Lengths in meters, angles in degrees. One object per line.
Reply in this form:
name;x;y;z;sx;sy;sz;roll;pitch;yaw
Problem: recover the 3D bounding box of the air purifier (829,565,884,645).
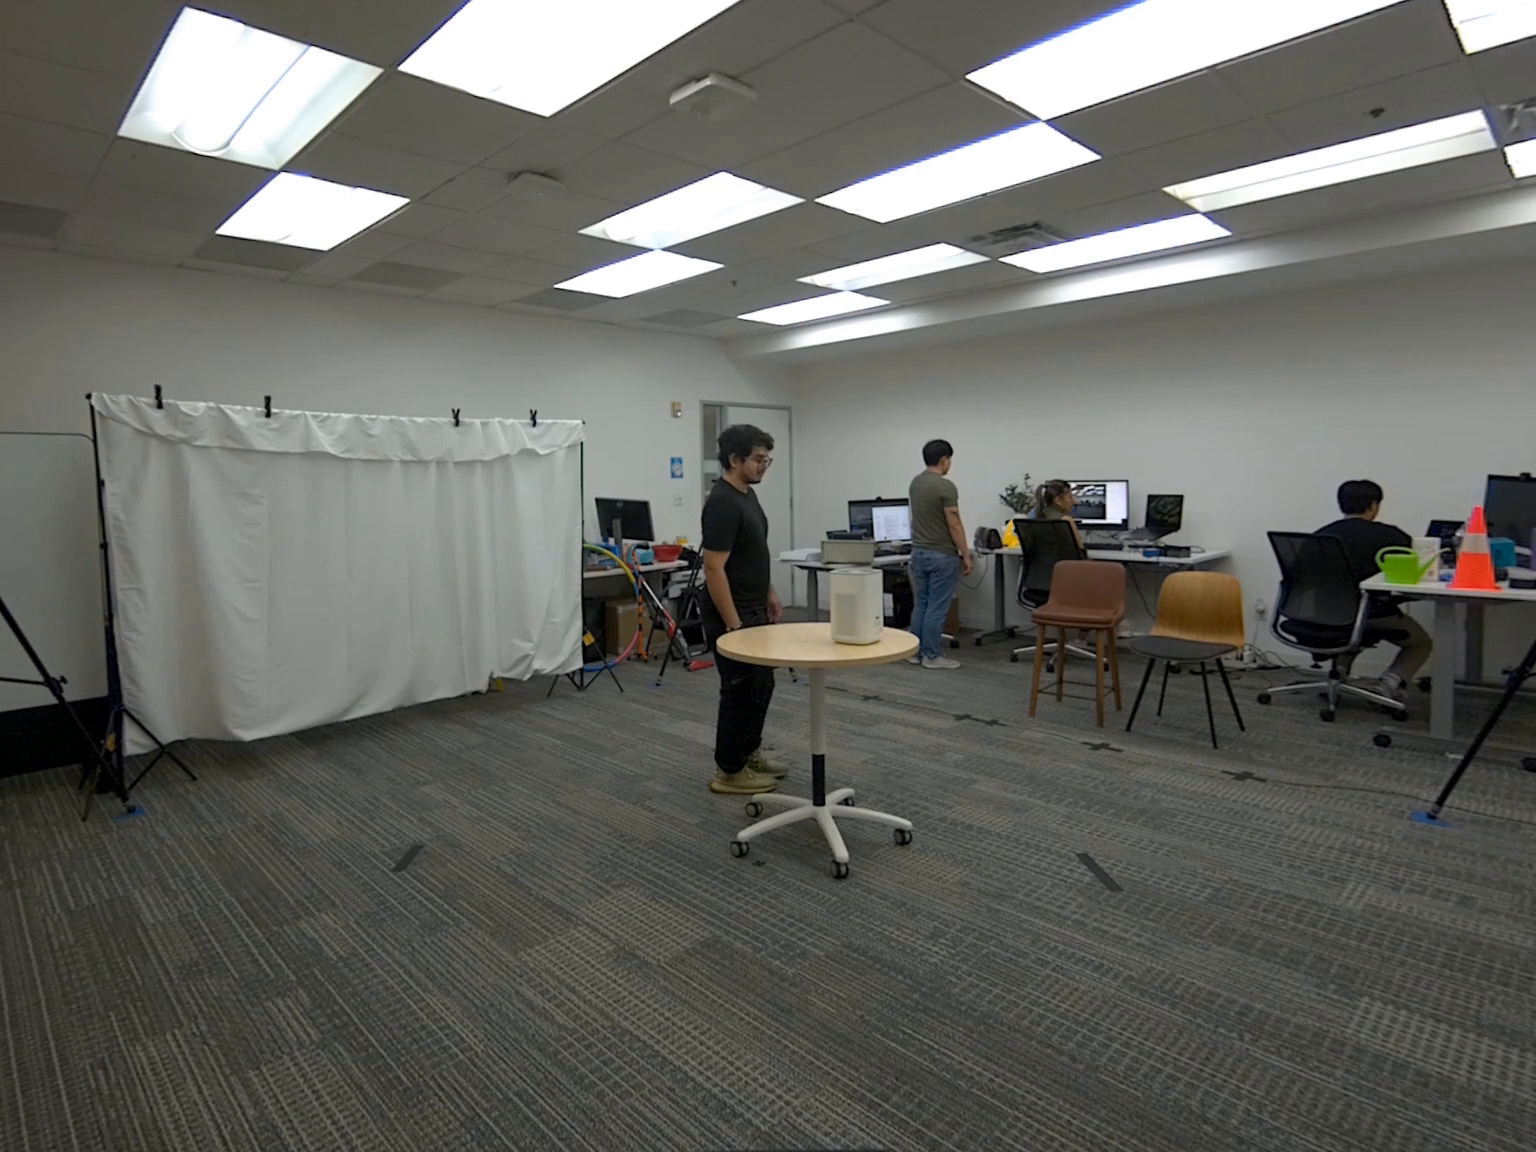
air purifier;0.336;0.112;3.195;0.176;0.264;0.167;1;5;34
